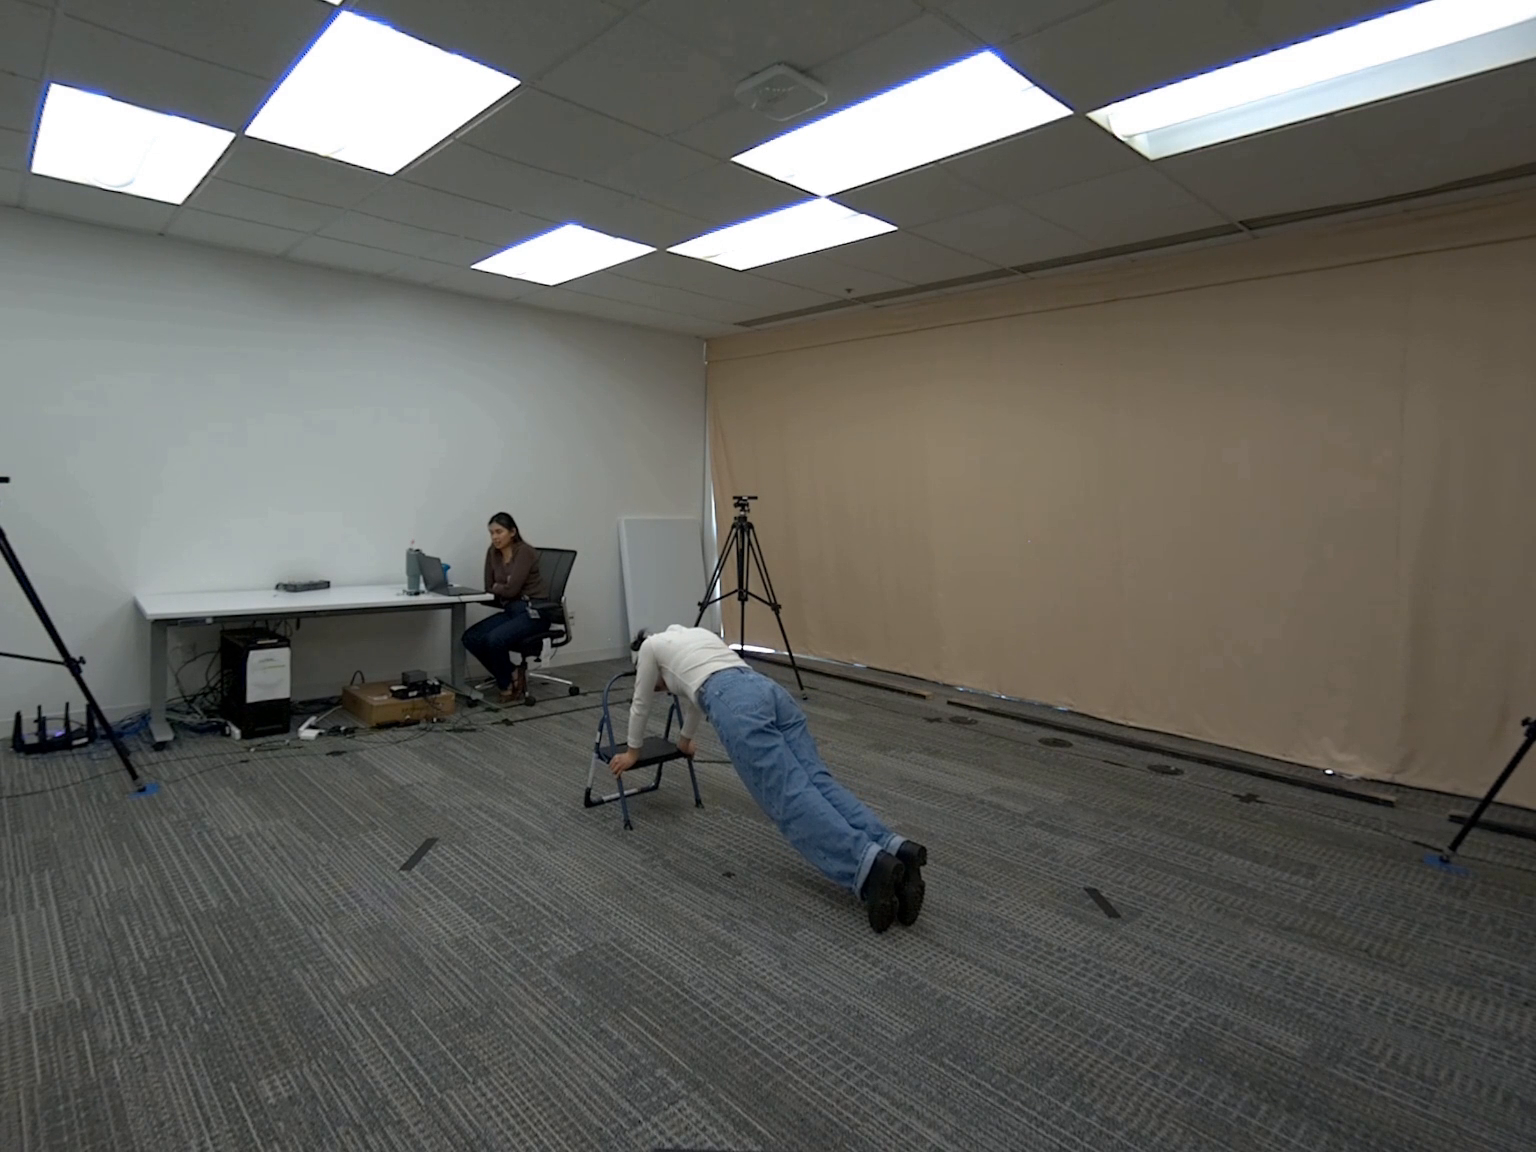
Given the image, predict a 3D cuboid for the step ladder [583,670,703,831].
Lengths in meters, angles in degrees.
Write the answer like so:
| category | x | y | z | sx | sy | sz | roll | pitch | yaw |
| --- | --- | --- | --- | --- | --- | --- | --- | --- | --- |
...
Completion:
| category | x | y | z | sx | sy | sz | roll | pitch | yaw |
| --- | --- | --- | --- | --- | --- | --- | --- | --- | --- |
| step ladder | -0.558 | 0.737 | 3.755 | 0.421 | 0.605 | 0.358 | -2 | 5 | -45 |
